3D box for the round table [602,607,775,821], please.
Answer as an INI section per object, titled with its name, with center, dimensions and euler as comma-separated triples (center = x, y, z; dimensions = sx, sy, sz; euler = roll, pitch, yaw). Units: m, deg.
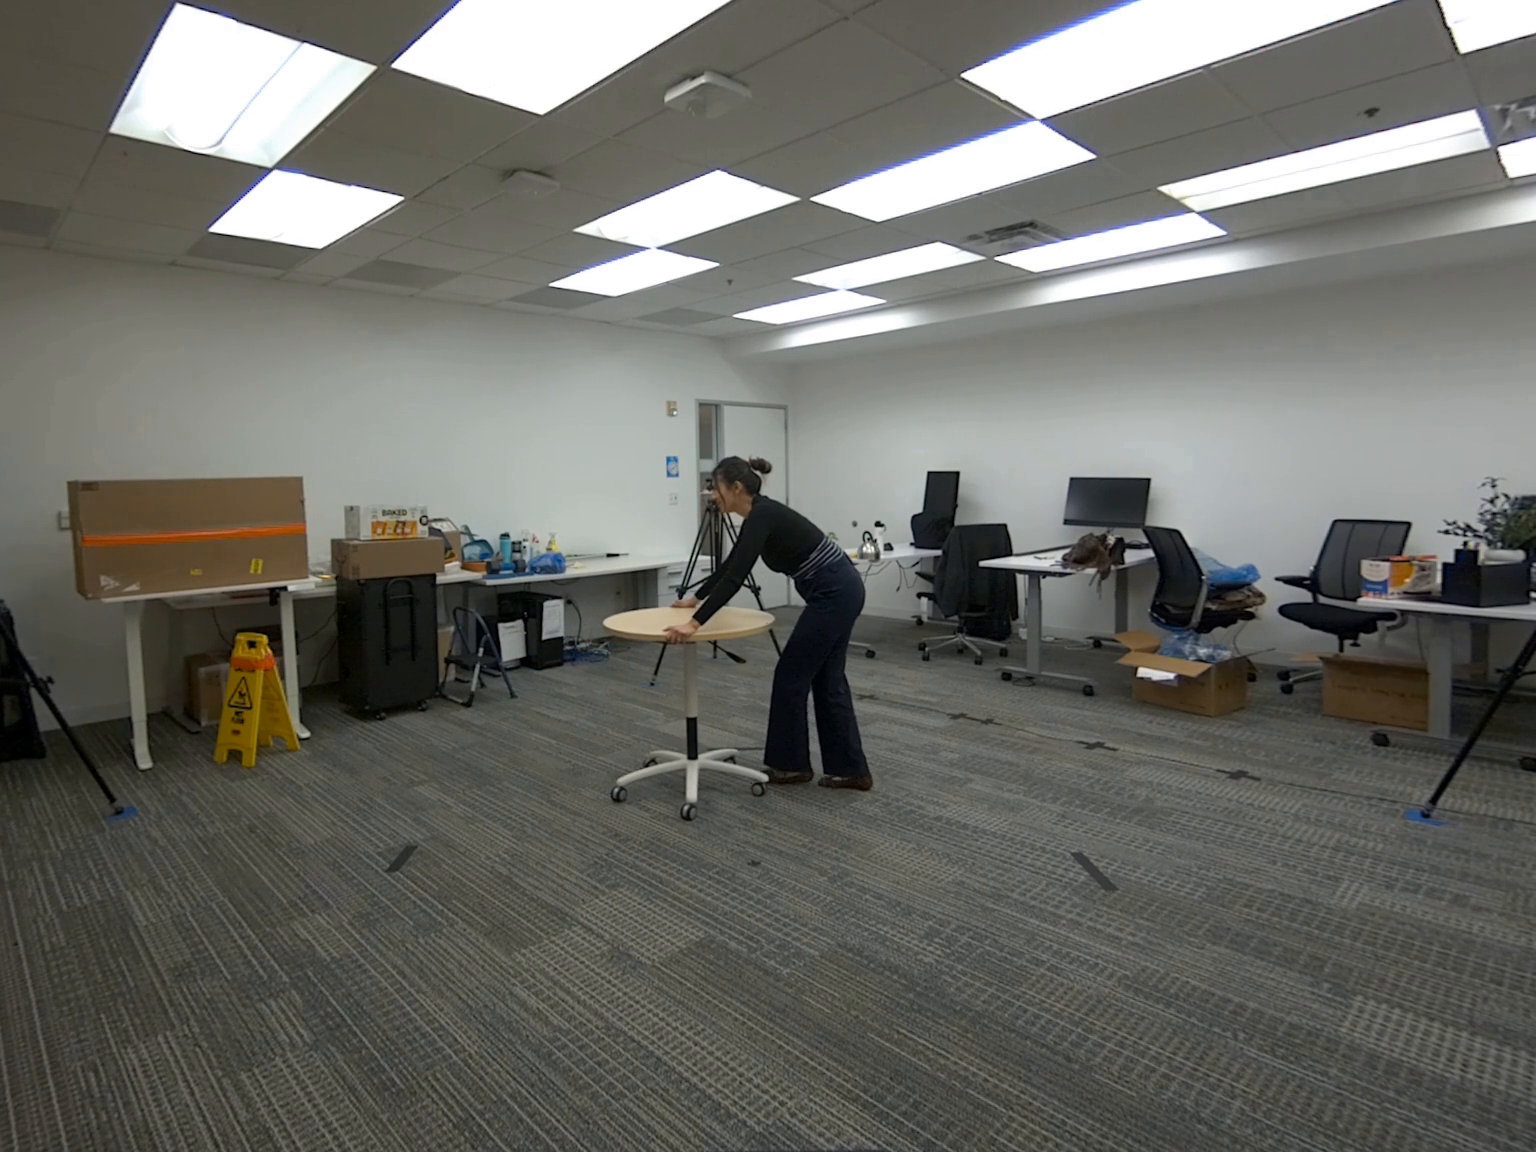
[round table]
center = -0.350, 0.584, 3.837
dimensions = 0.763, 0.791, 0.767
euler = -1, 4, -2
